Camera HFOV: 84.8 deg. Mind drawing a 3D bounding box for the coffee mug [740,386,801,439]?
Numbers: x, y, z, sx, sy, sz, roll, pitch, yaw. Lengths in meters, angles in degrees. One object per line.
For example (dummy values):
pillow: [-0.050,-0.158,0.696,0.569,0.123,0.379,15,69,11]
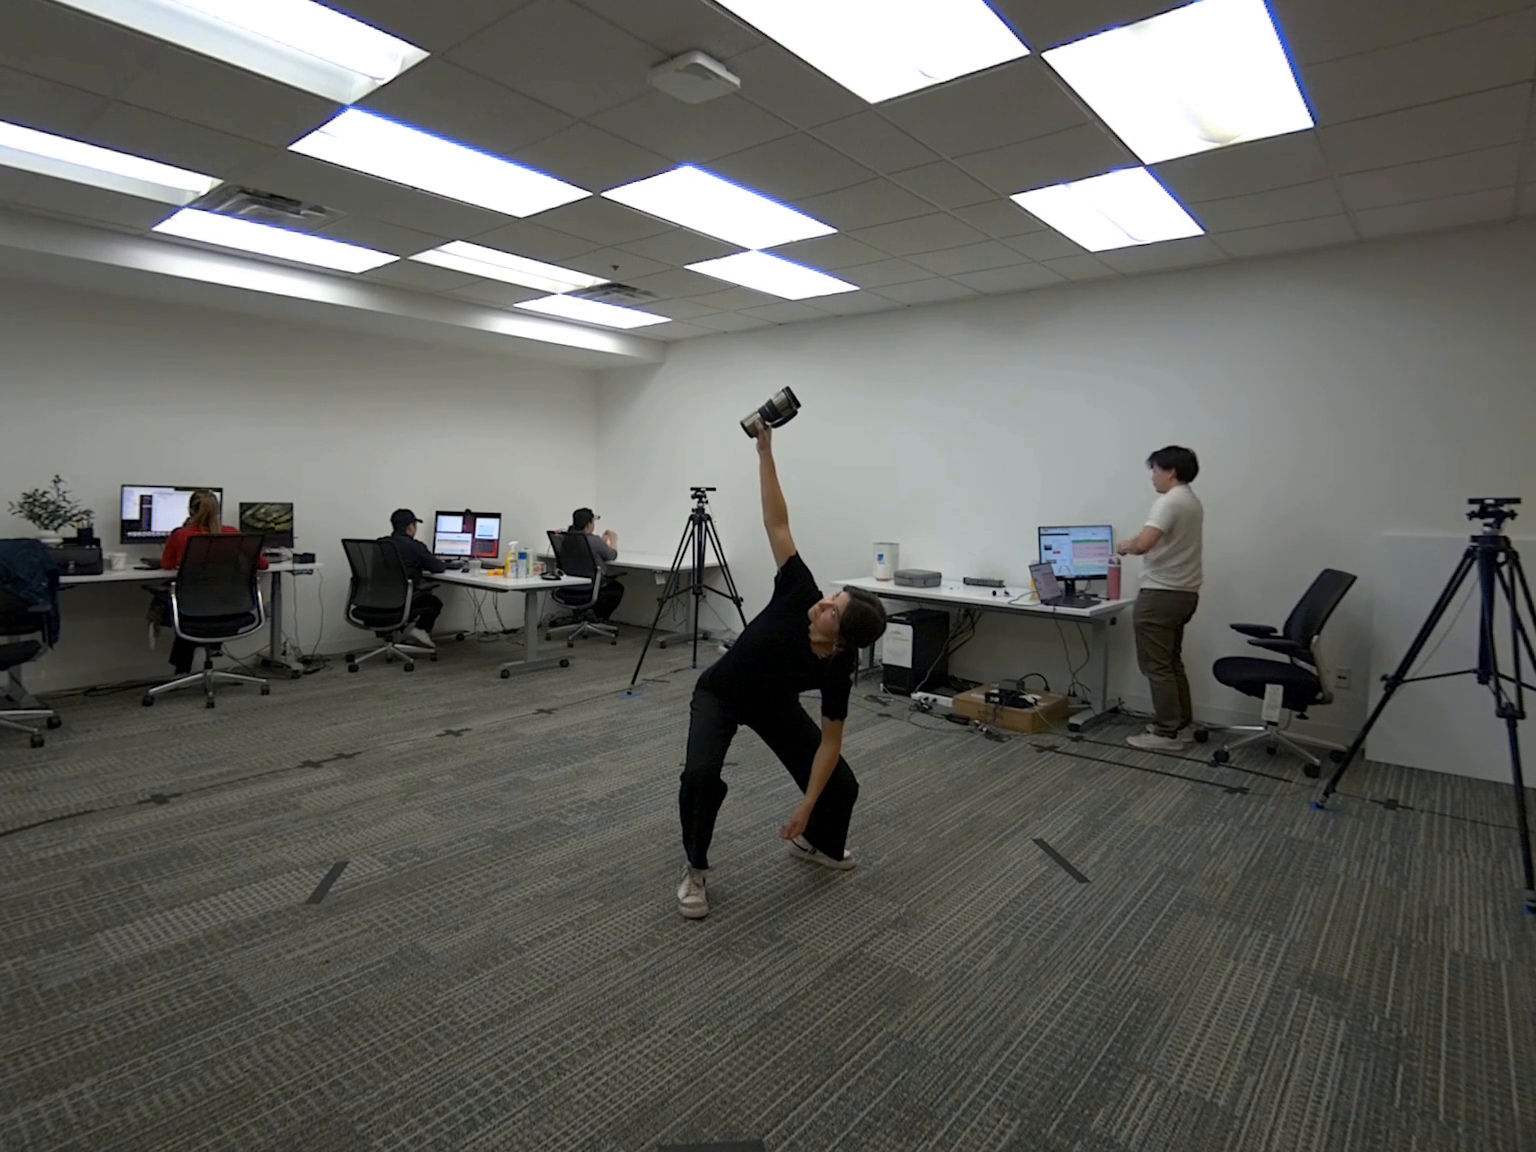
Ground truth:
coffee mug: [-0.005,-0.540,2.819,0.203,0.085,0.125,-34,21,9]
